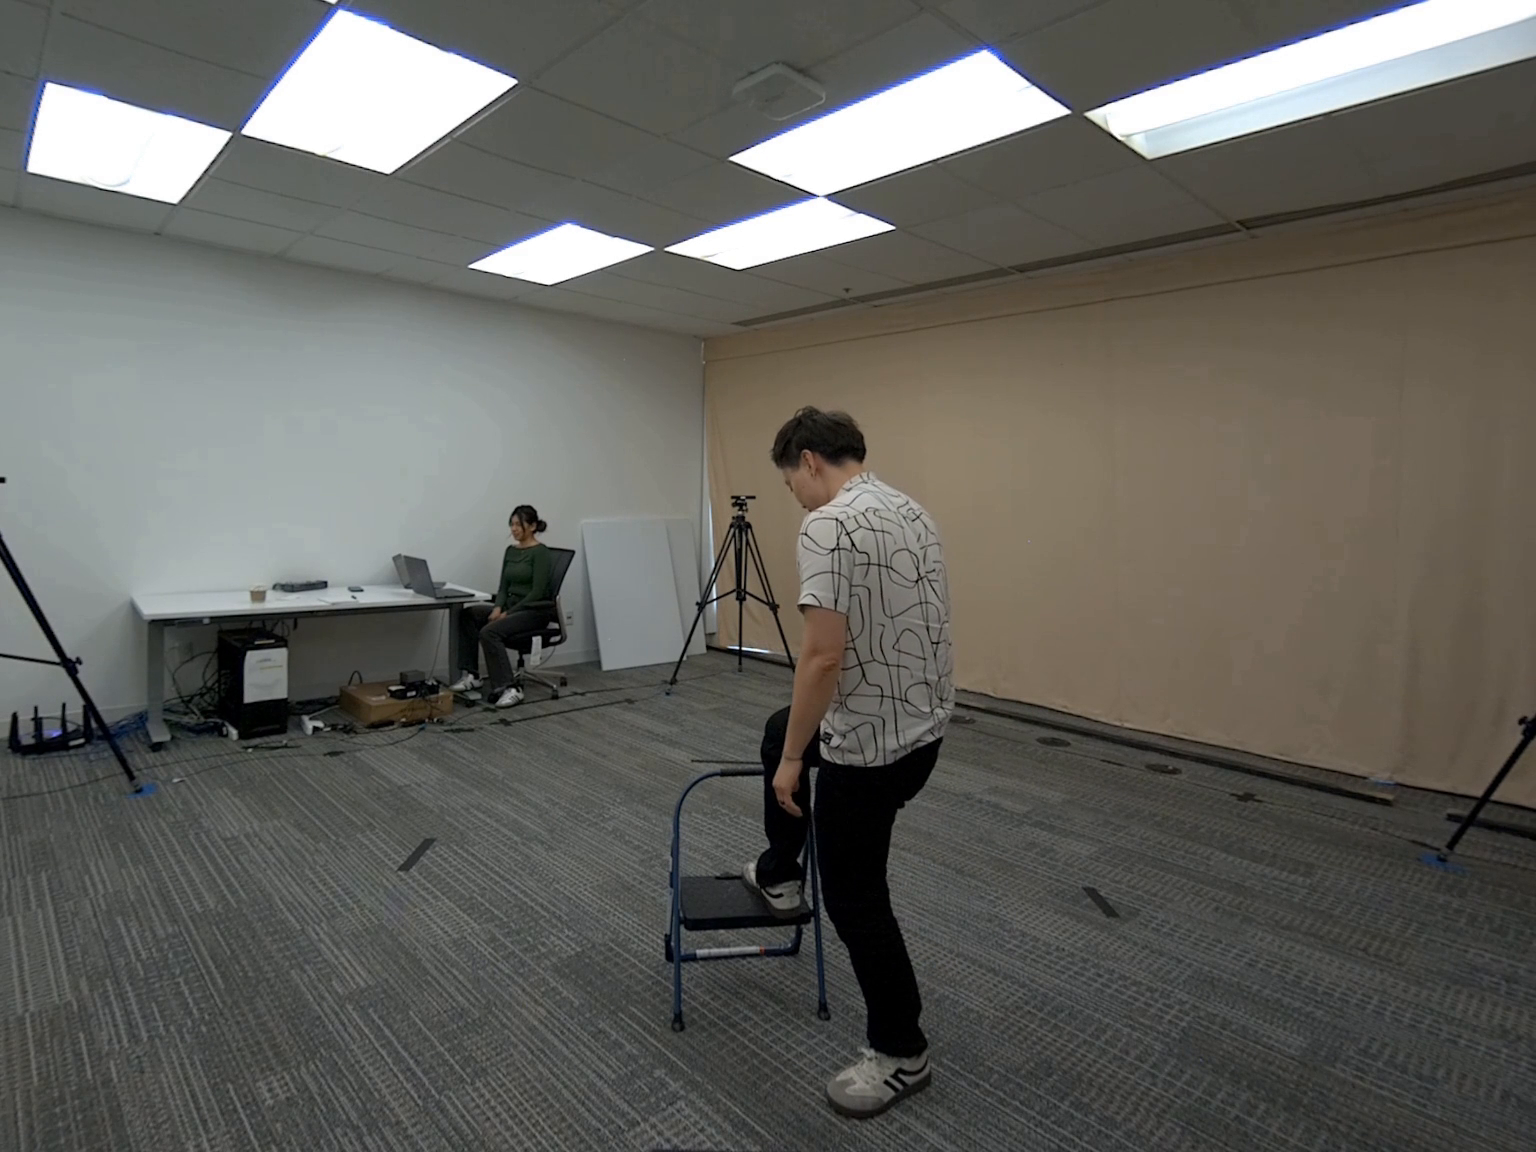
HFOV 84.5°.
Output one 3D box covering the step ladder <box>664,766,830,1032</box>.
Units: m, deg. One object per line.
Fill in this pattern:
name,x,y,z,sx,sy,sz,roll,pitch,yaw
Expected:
step ladder,-0.072,0.874,2.373,0.427,0.604,0.353,0,4,-11
